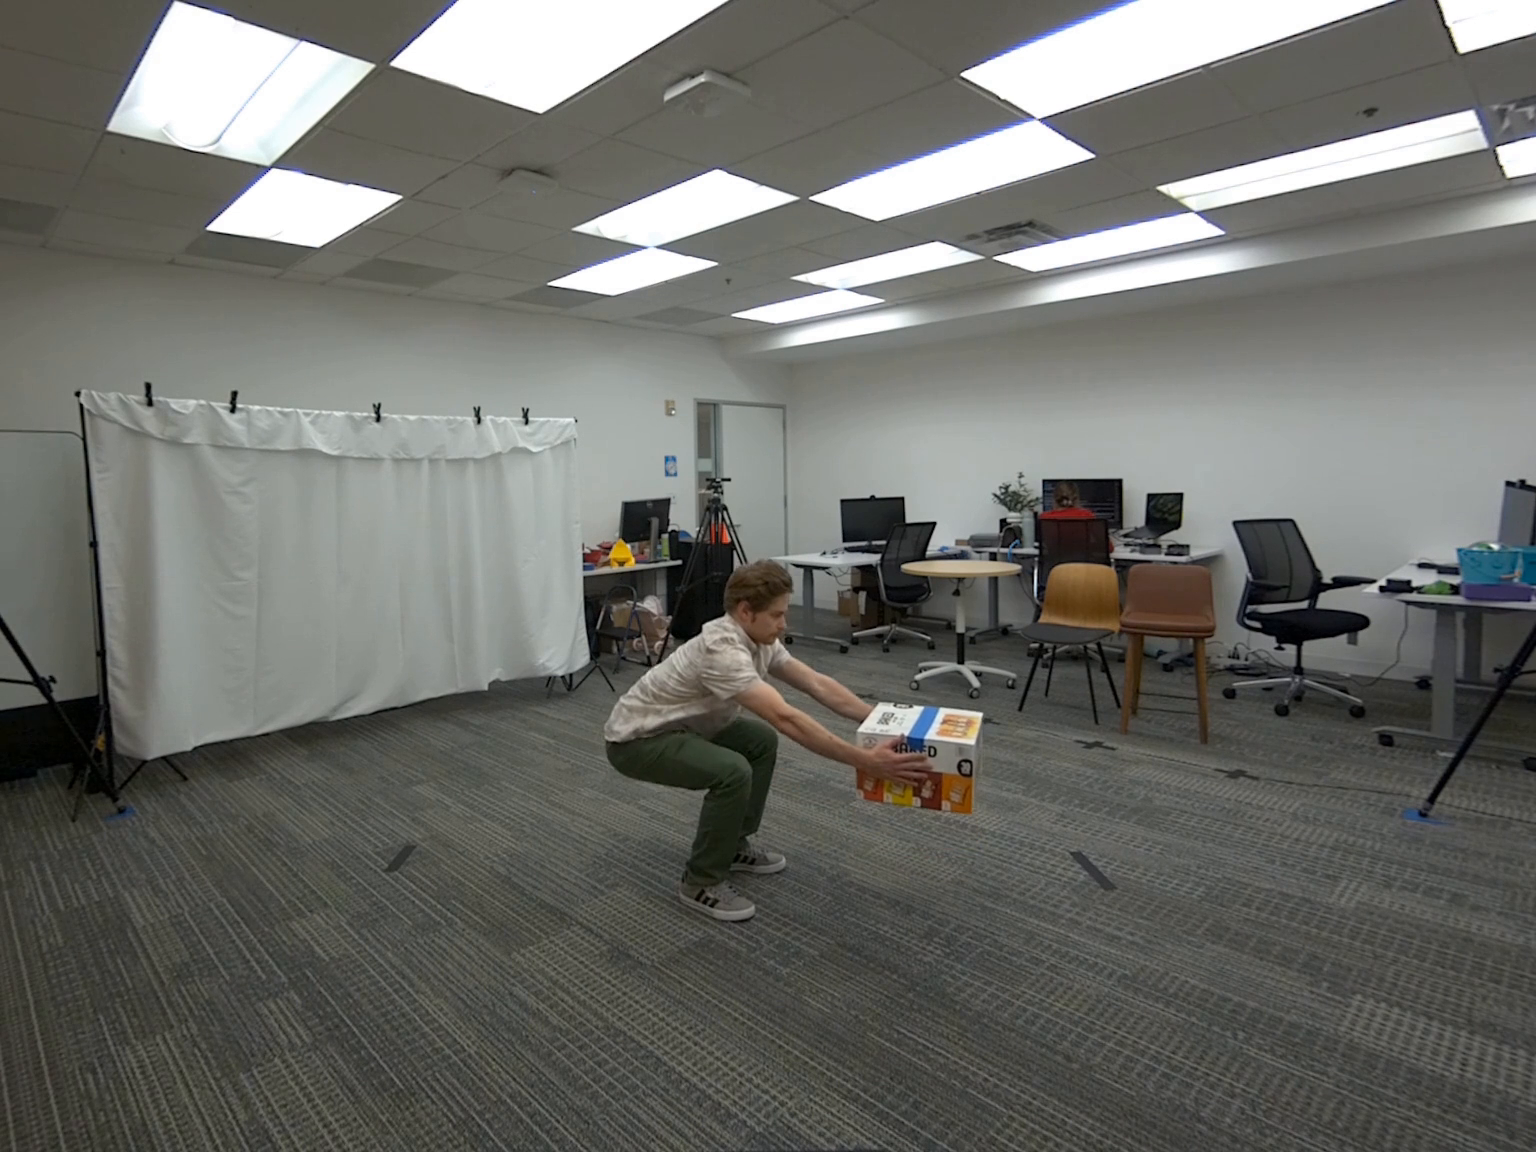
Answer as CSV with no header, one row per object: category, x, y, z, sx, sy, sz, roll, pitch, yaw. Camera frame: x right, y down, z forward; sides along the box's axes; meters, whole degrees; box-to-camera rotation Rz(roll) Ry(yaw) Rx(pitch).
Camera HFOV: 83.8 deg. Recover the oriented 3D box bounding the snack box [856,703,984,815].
snack box,0.479,0.547,2.670,0.347,0.205,0.399,2,5,19
